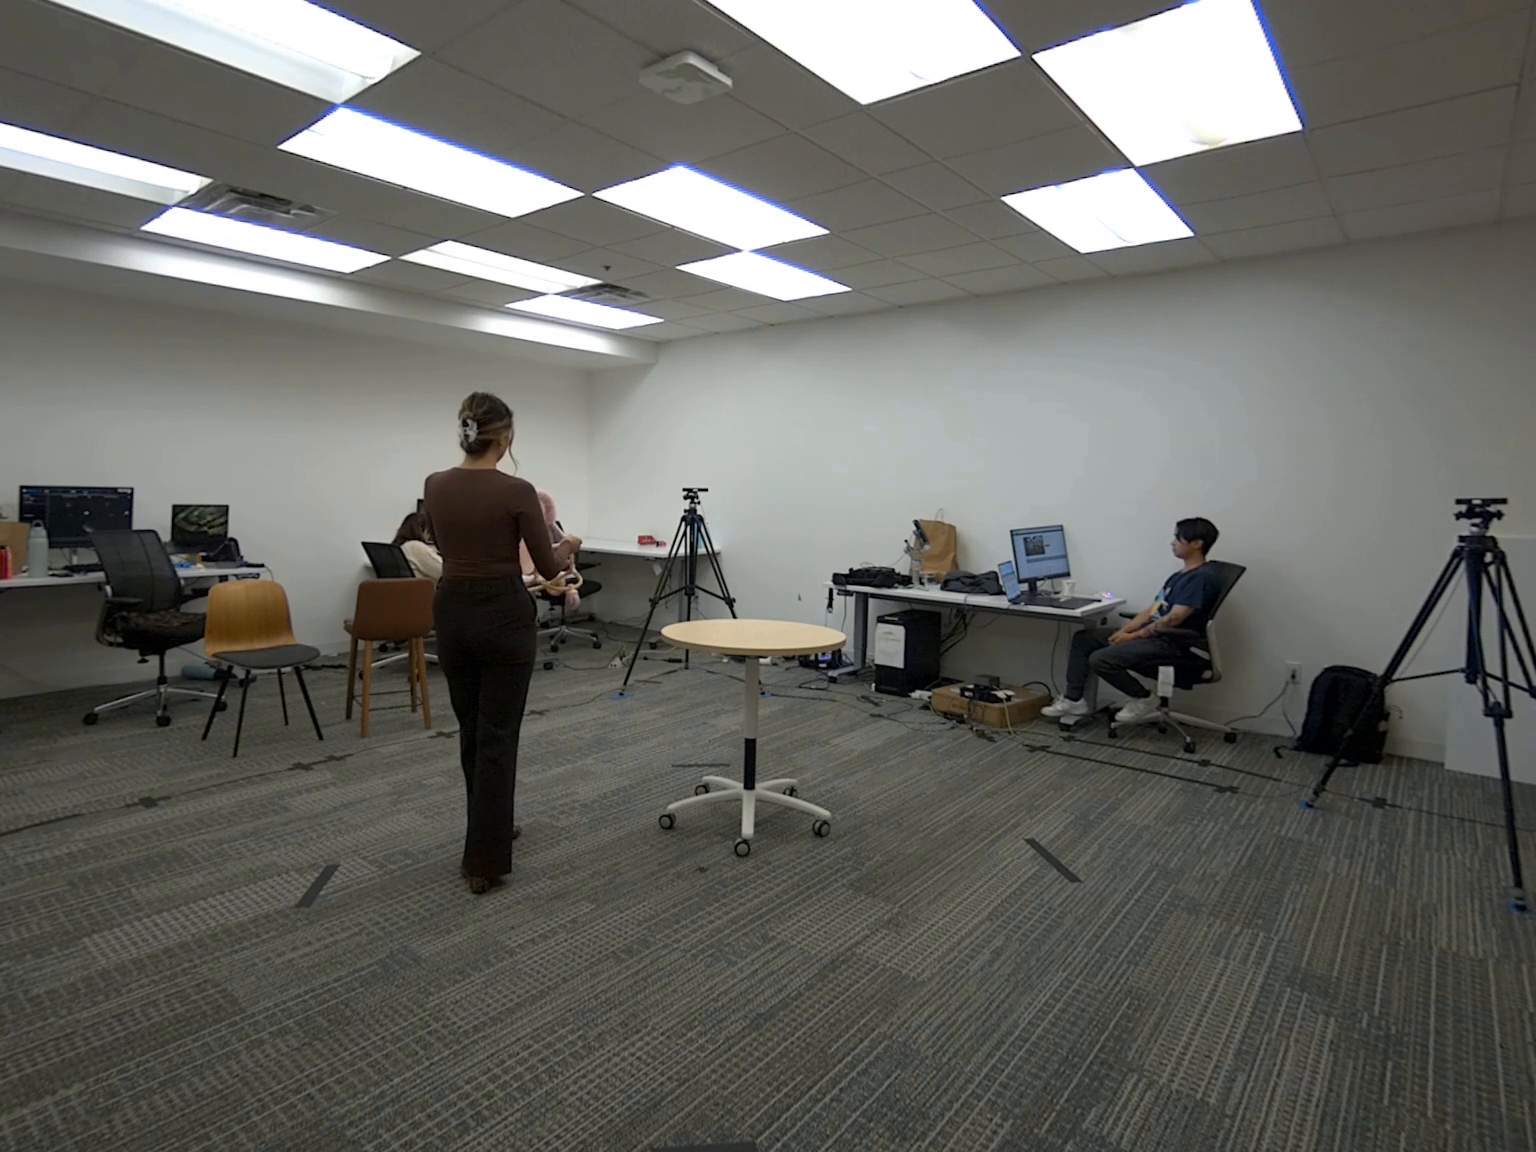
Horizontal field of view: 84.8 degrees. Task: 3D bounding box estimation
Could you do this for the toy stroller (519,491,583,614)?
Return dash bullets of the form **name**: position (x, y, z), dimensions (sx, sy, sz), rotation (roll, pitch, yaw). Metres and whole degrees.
- **toy stroller**: position (-0.933, -0.116, 3.442), dimensions (0.350, 0.535, 0.274), rotation (-10, 1, 42)
